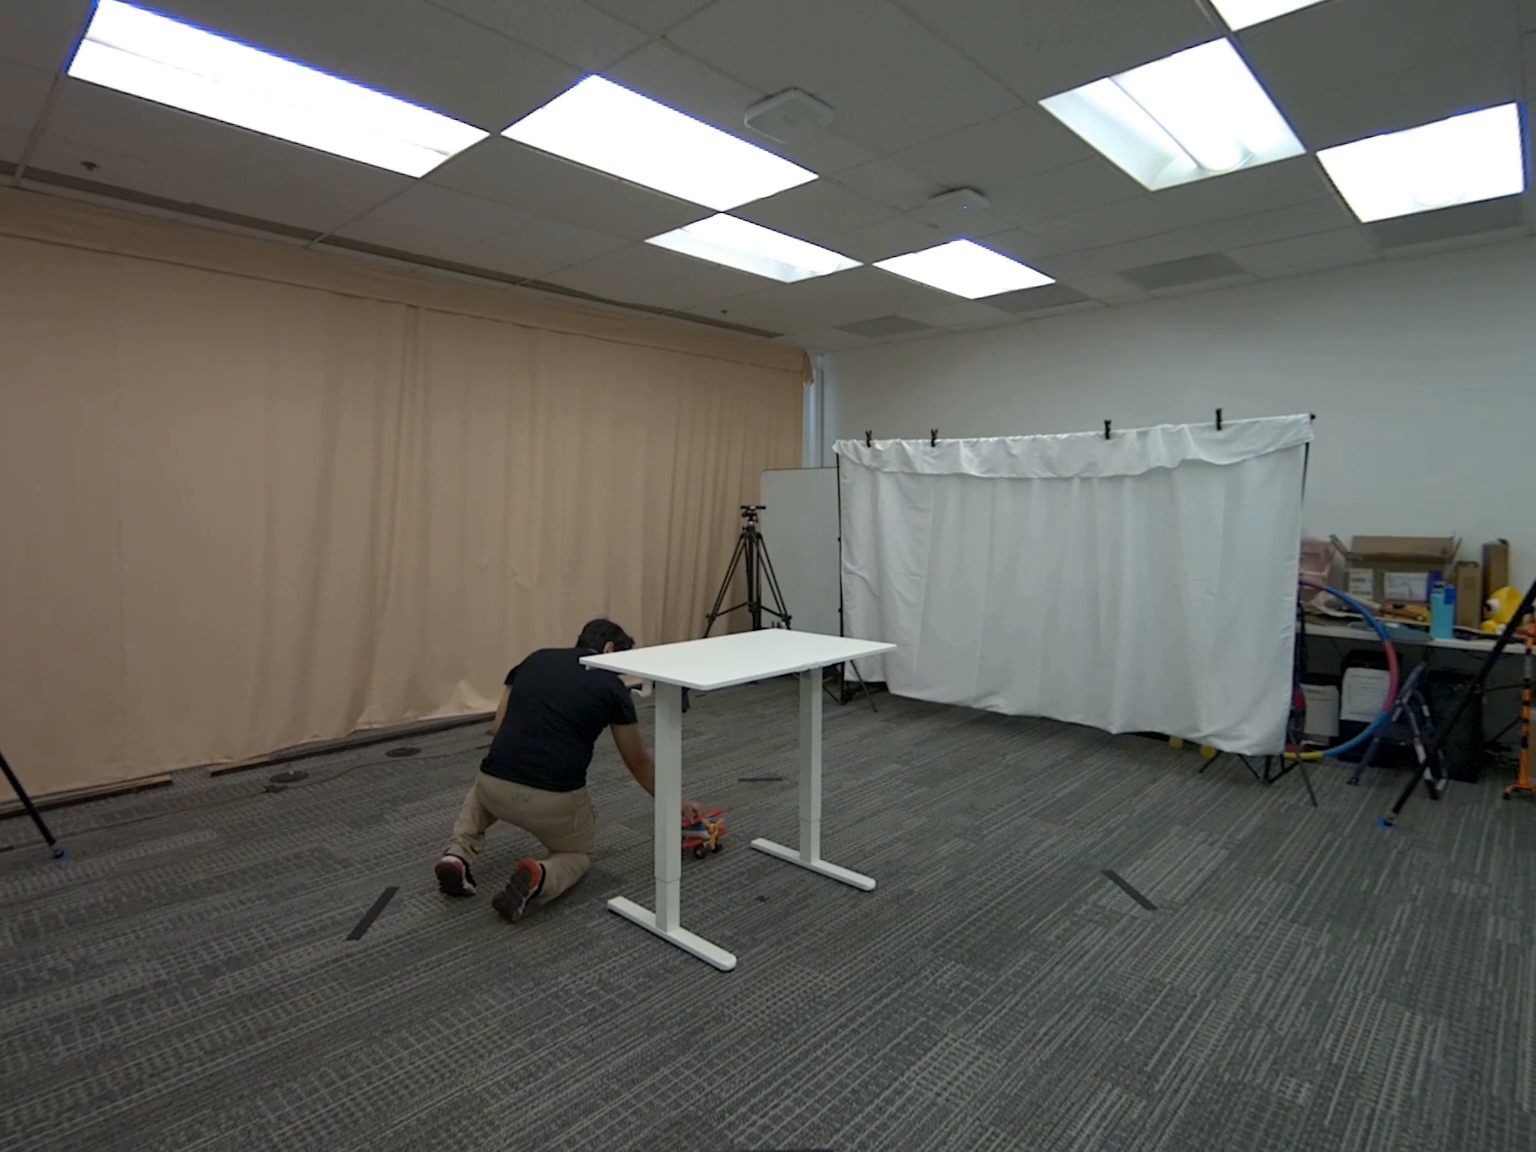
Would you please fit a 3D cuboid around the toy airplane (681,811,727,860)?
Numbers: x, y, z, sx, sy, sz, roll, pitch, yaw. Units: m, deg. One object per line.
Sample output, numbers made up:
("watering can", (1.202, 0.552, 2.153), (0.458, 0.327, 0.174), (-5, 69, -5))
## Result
("toy airplane", (-0.314, 1.039, 3.405), (0.264, 0.156, 0.247), (2, 6, 18))
